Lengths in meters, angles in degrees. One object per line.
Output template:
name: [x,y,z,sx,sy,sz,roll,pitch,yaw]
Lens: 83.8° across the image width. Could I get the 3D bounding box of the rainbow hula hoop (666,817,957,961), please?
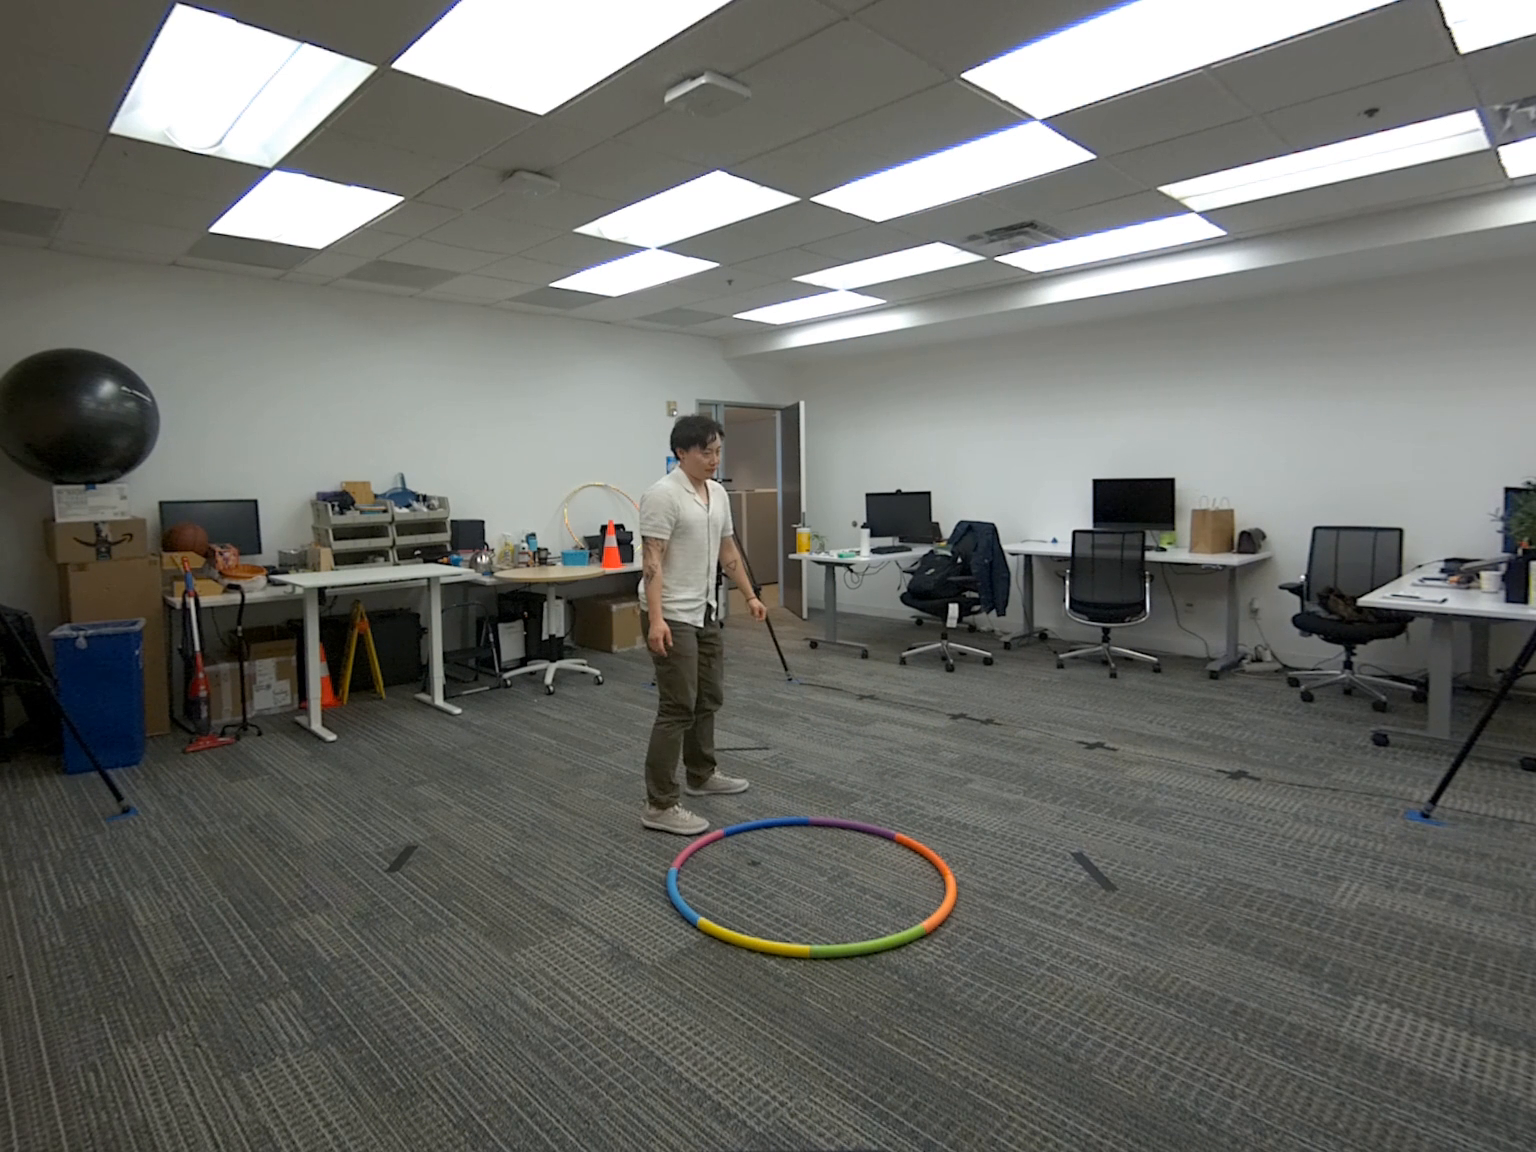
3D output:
rainbow hula hoop: [0.141,1.029,2.967,0.978,0.035,0.984,-2,6,-2]
